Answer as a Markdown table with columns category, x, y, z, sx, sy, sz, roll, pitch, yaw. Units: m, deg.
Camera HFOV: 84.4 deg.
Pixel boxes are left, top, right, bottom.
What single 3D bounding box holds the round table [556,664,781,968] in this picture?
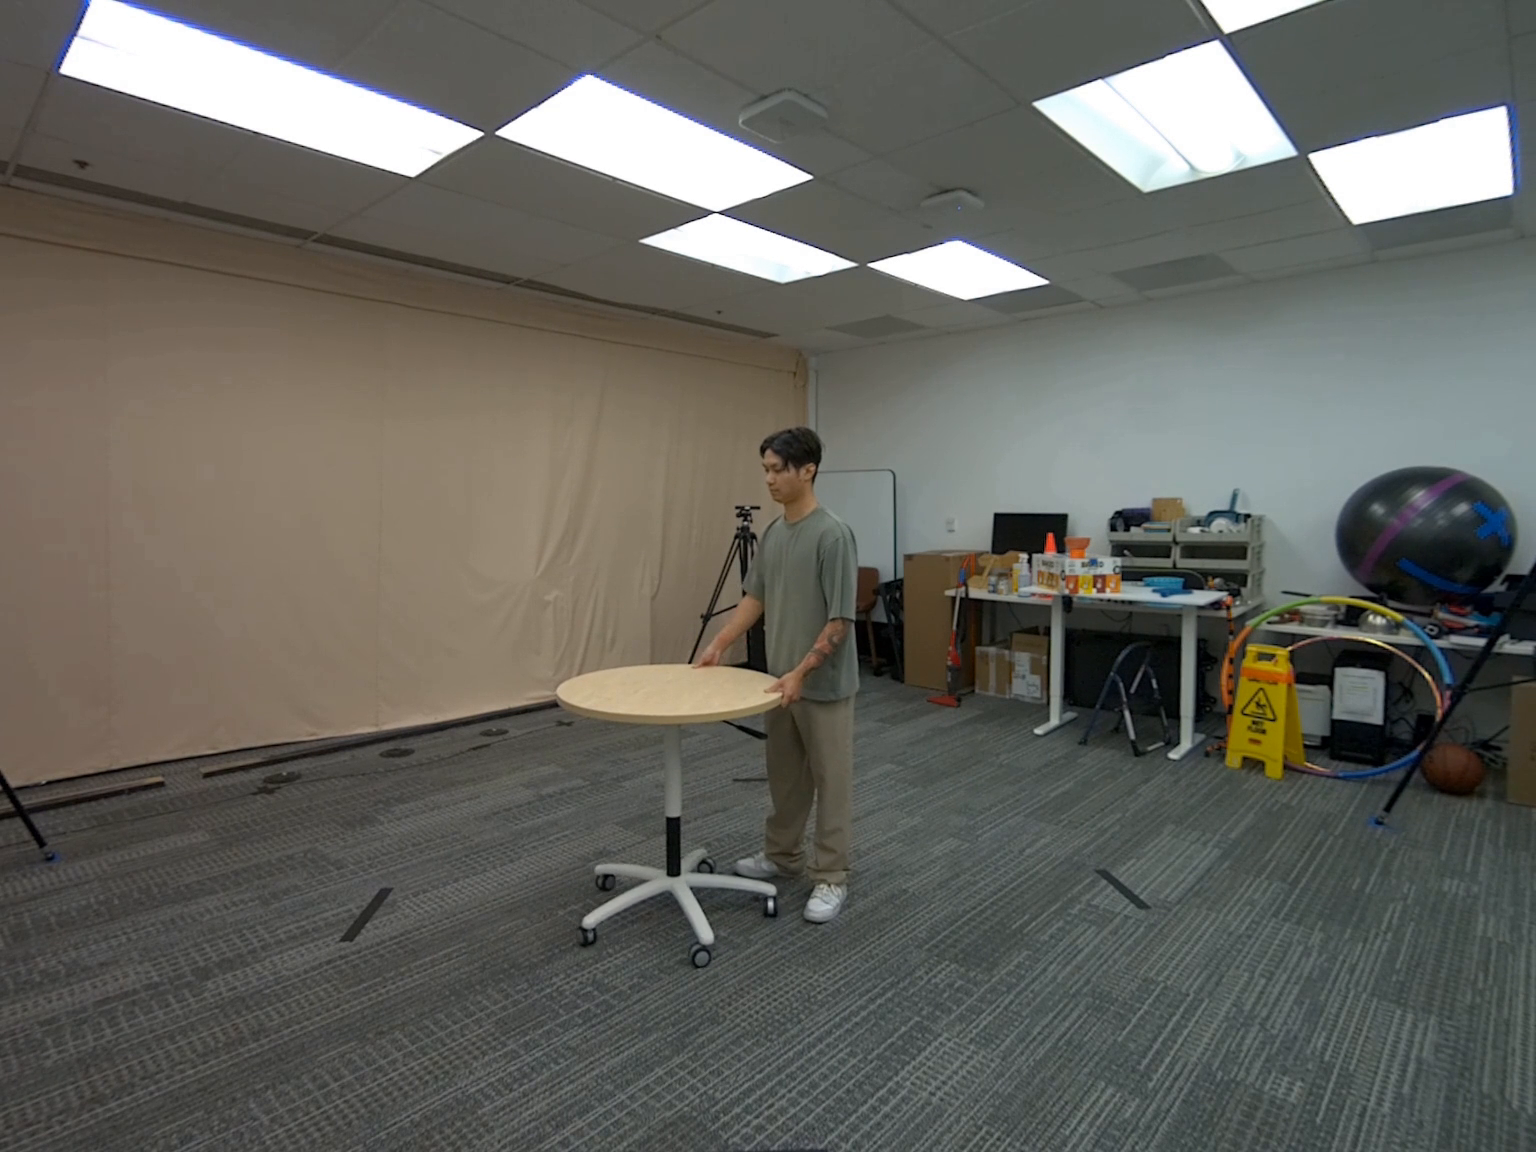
| category | x | y | z | sx | sy | sz | roll | pitch | yaw |
| --- | --- | --- | --- | --- | --- | --- | --- | --- | --- |
| round table | -0.333 | 0.763 | 2.866 | 0.784 | 0.785 | 0.788 | 0 | 4 | -2 |
